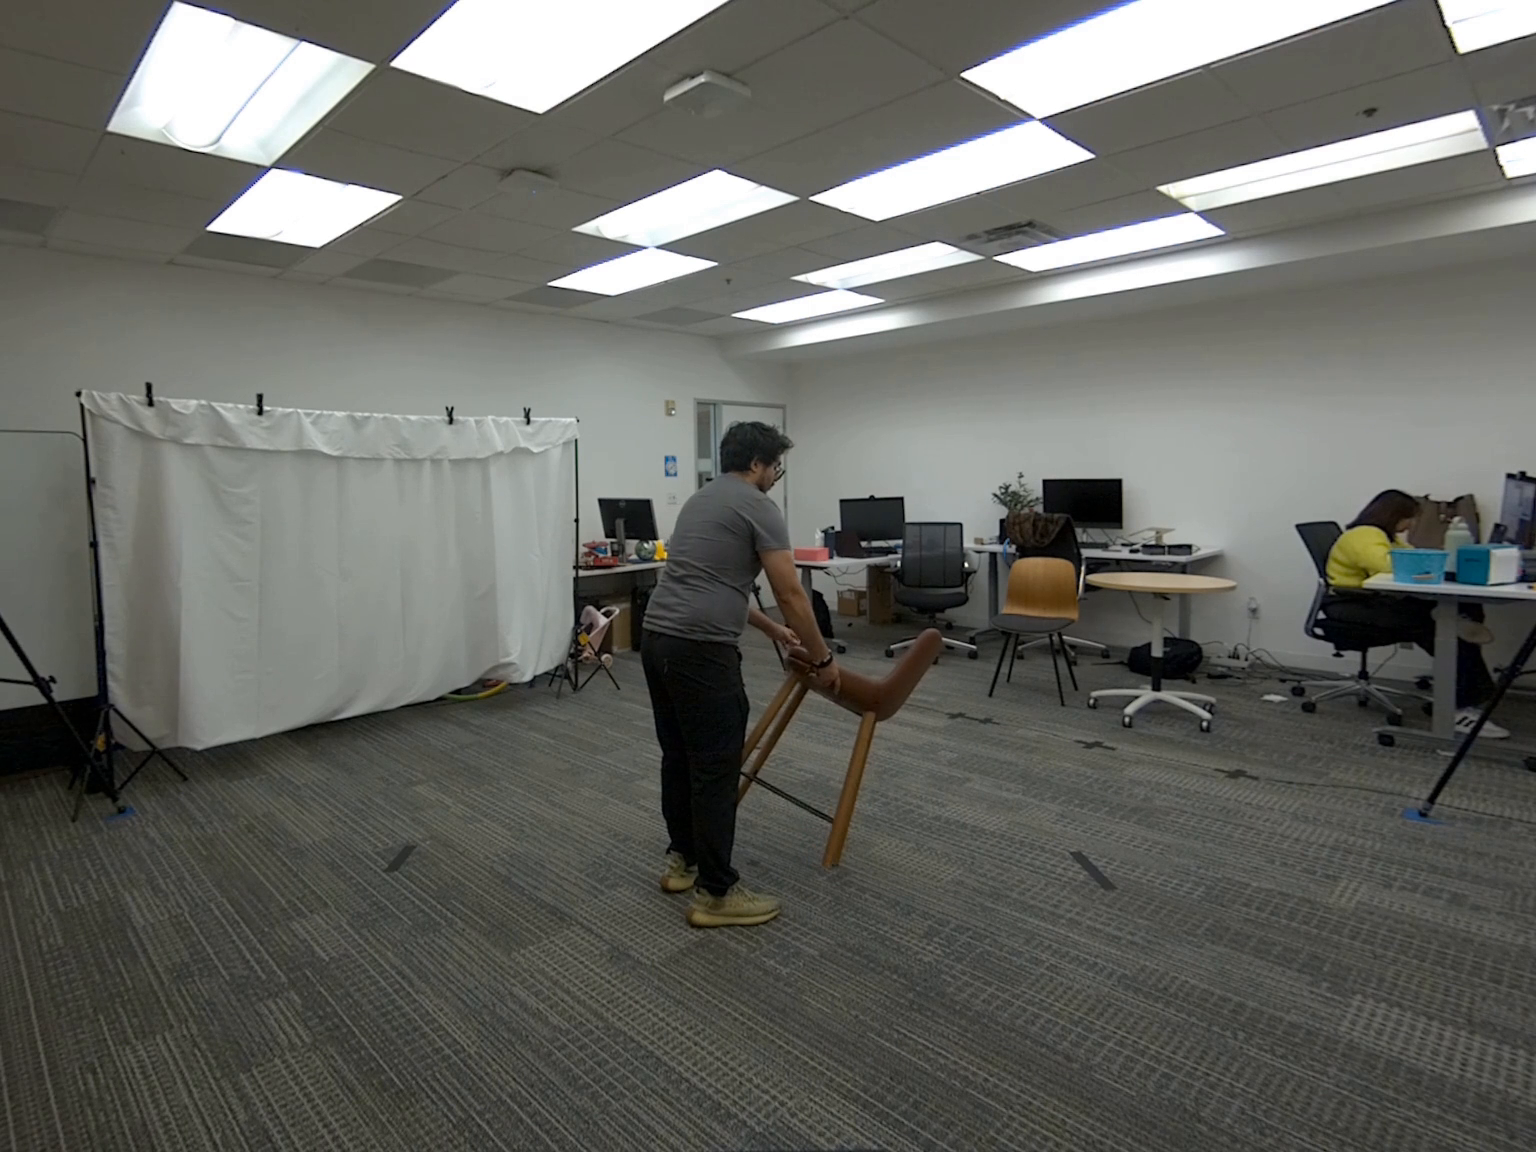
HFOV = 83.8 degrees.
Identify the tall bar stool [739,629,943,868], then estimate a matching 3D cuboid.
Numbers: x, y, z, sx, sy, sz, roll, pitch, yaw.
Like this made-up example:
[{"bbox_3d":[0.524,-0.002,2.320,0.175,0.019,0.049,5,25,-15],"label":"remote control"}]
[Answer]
[{"bbox_3d":[0.221,0.528,3.073,0.478,0.893,0.445,25,-12,17],"label":"tall bar stool"}]
